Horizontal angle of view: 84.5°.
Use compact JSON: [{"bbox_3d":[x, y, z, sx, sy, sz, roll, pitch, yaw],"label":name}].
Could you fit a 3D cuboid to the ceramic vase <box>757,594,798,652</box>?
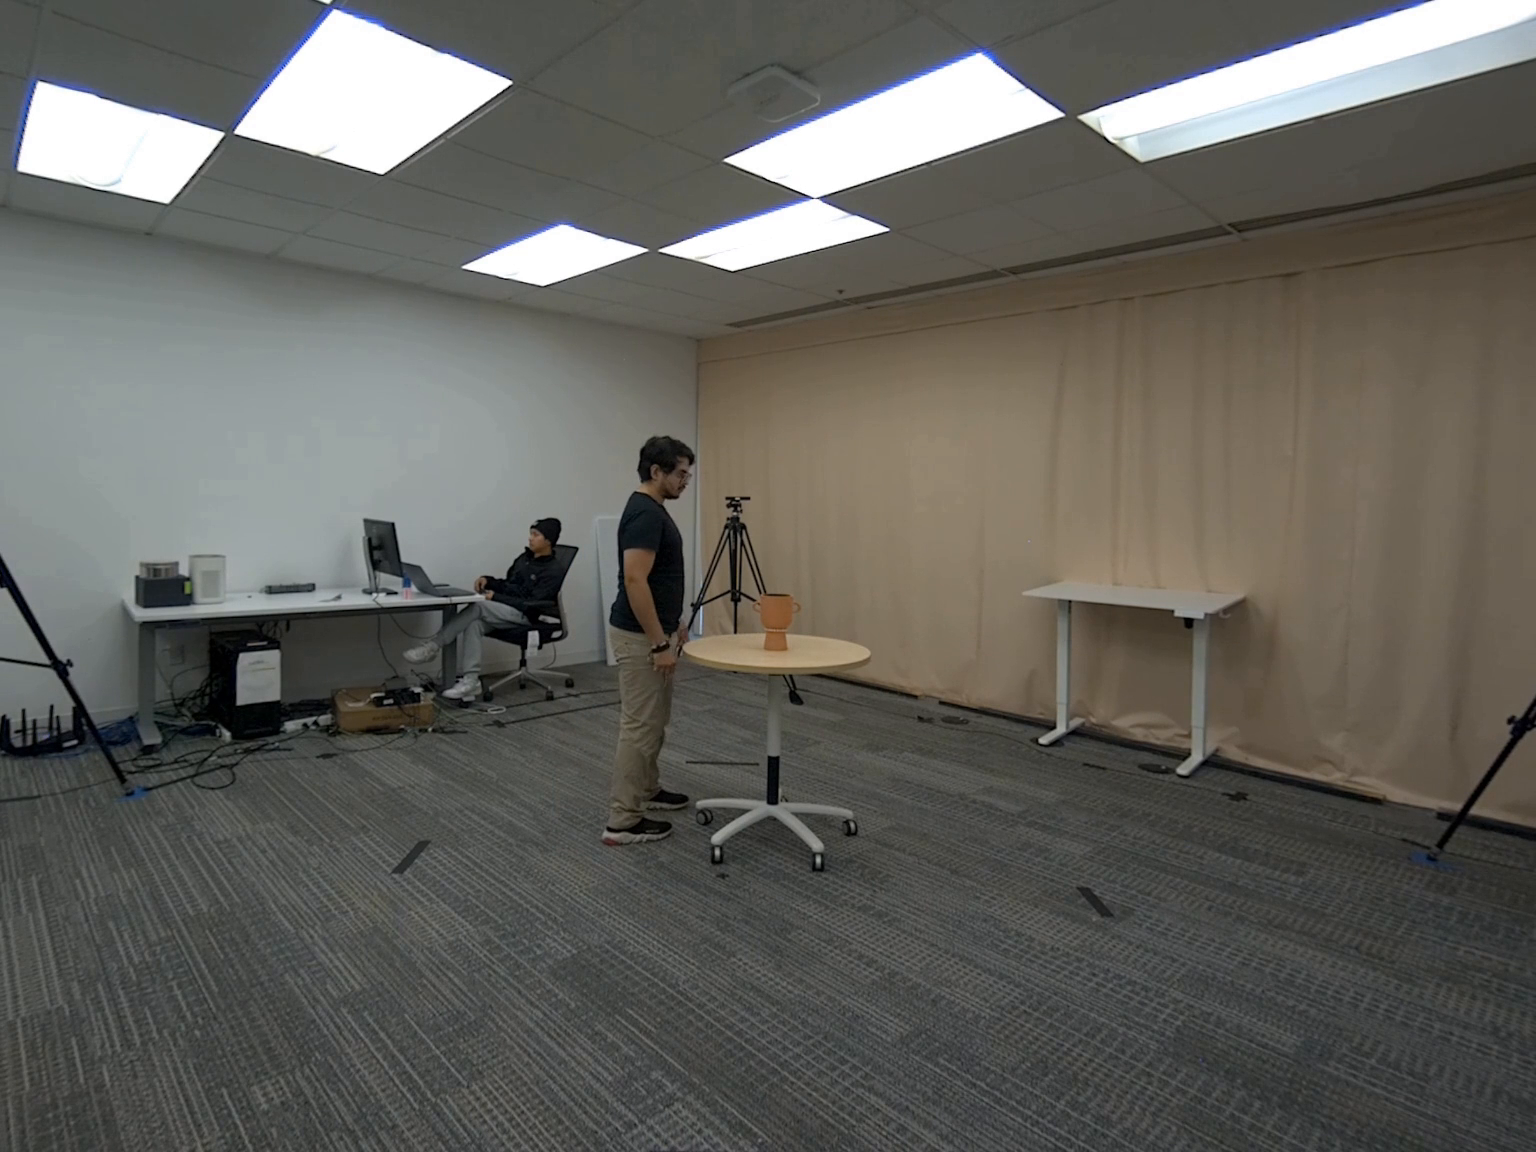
[{"bbox_3d":[0.024,0.187,3.430,0.163,0.219,0.132,6,6,34],"label":"ceramic vase"}]
